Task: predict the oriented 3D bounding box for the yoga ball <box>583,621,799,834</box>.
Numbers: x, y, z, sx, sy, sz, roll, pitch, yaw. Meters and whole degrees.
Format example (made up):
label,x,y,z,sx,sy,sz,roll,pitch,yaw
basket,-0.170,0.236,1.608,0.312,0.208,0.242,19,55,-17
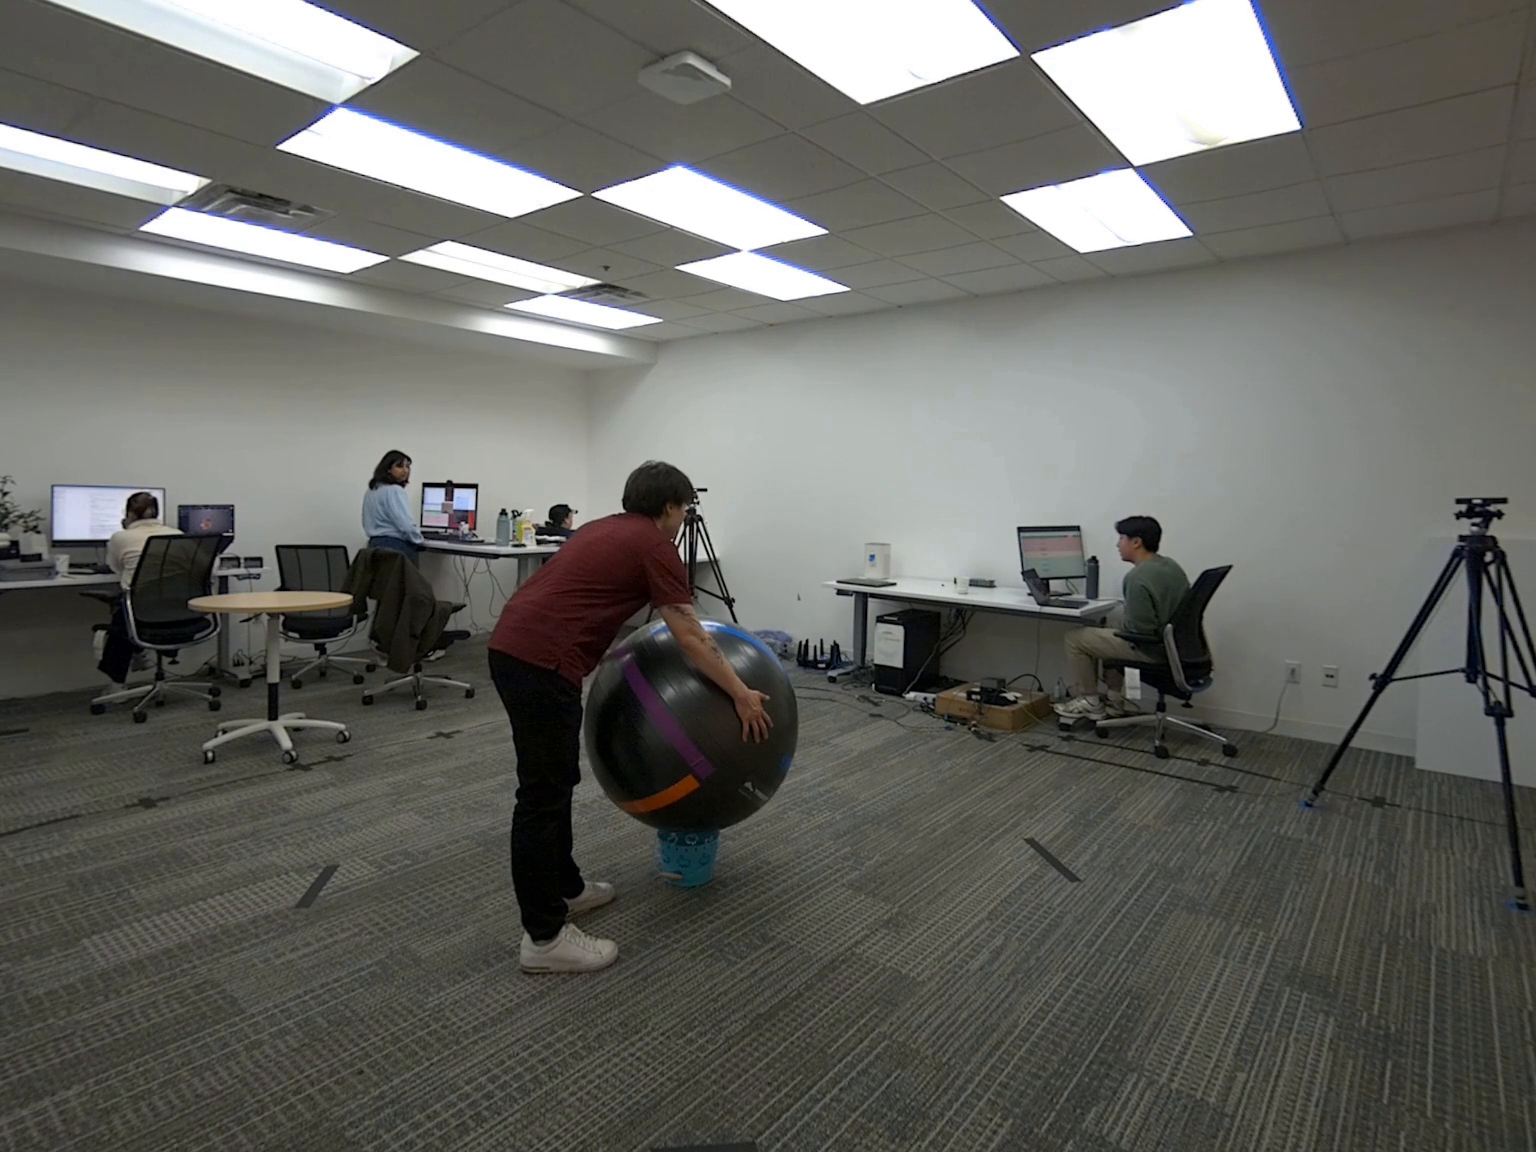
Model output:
label,x,y,z,sx,sy,sz,roll,pitch,yaw
yoga ball,-0.279,0.506,3.008,0.757,0.756,0.761,1,4,-2
